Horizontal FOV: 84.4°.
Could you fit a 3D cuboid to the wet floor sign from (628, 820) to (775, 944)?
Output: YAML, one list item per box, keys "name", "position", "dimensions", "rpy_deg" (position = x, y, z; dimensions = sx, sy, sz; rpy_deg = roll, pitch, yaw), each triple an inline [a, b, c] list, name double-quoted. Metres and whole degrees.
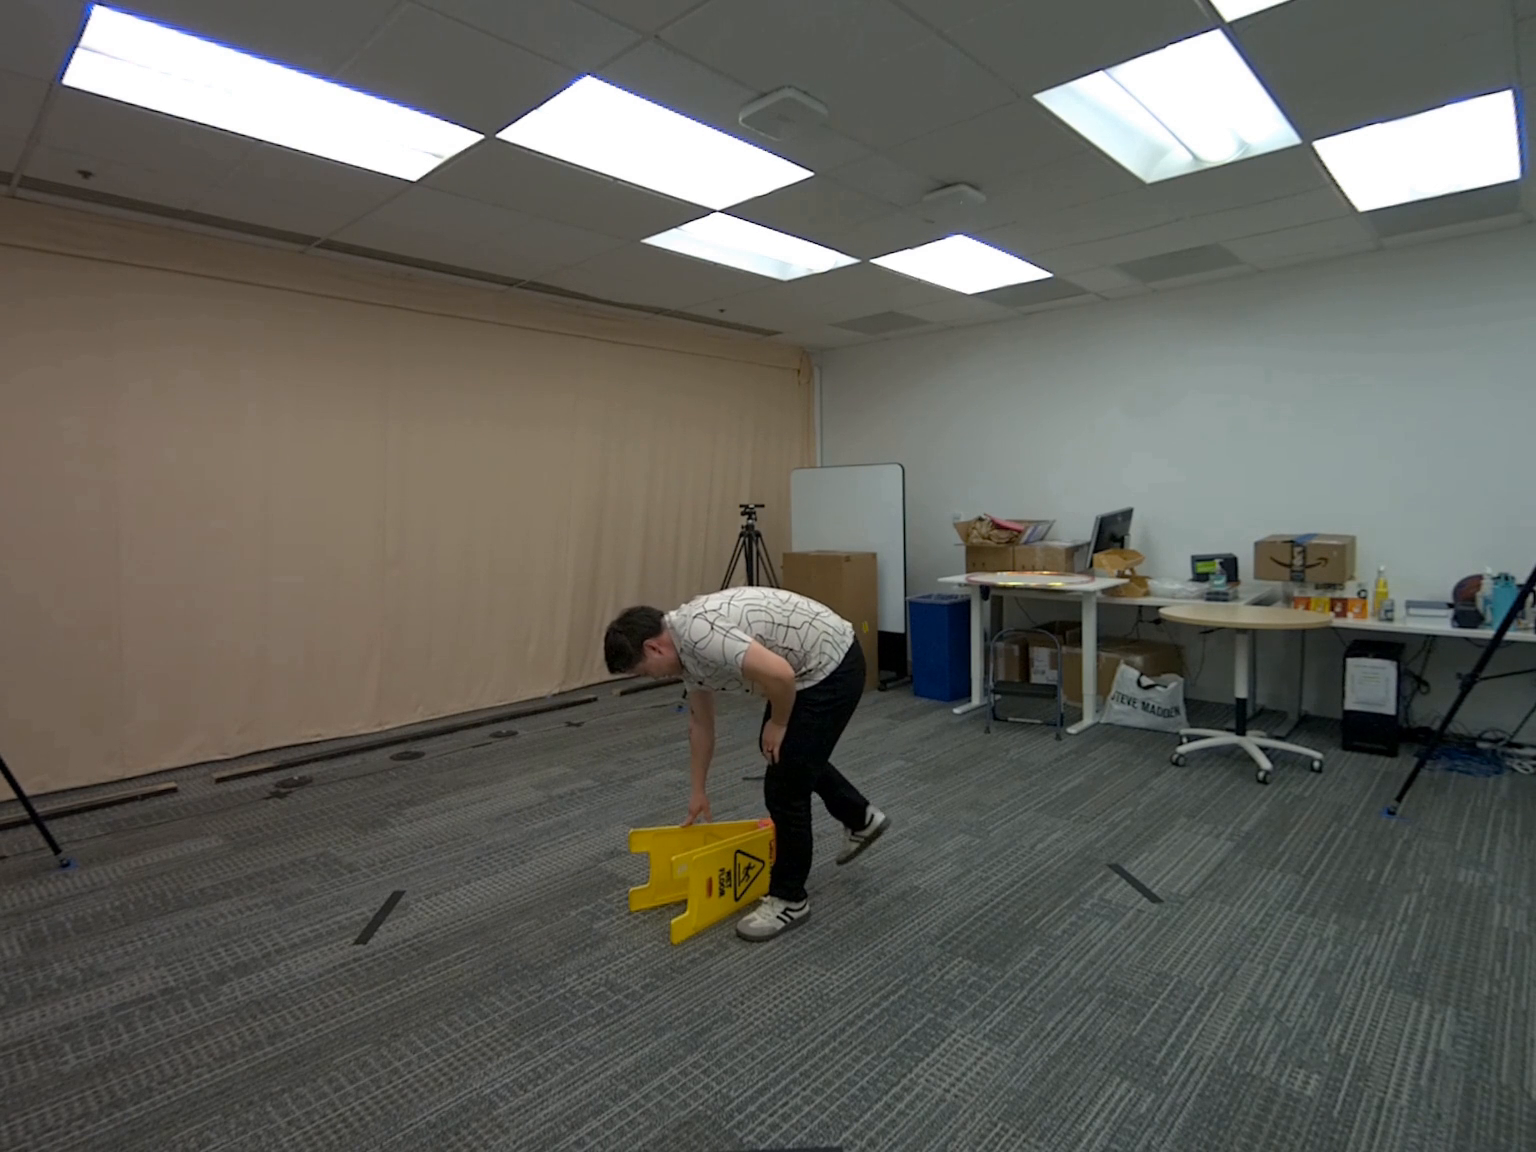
- name: "wet floor sign"
  position: [-0.136, 1.015, 2.965]
  dimensions: [0.627, 0.282, 0.299]
  rpy_deg: [-2, 4, -36]
